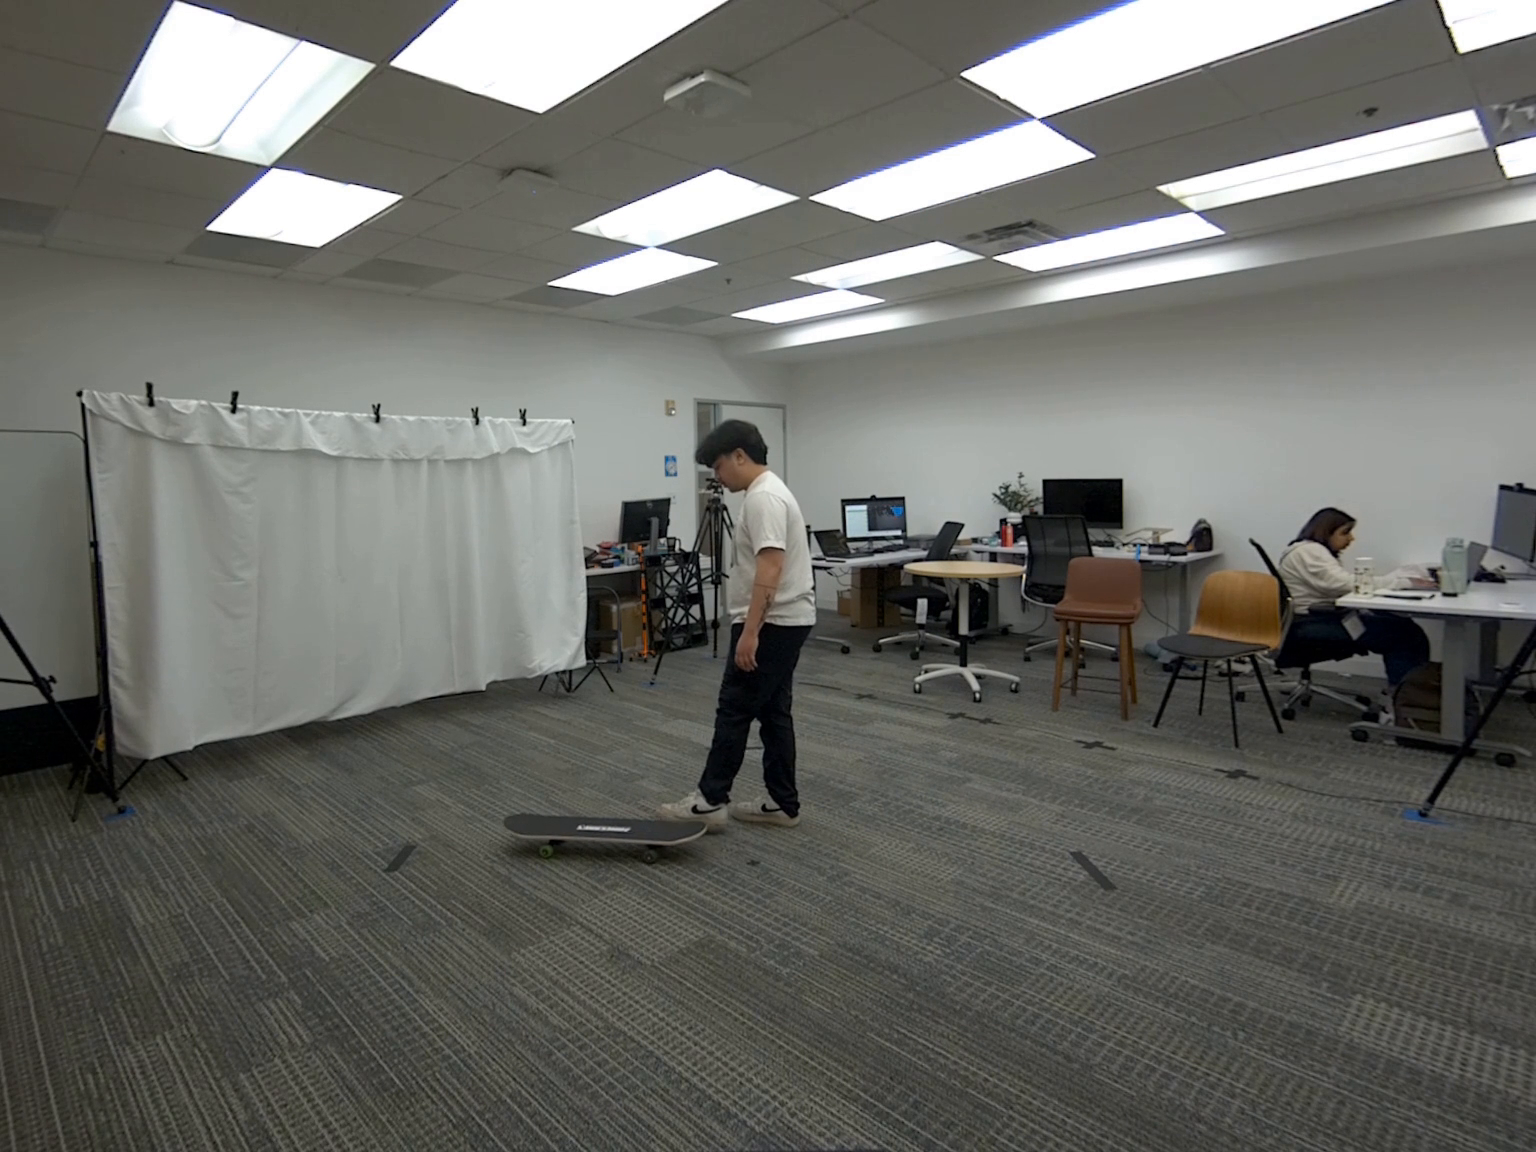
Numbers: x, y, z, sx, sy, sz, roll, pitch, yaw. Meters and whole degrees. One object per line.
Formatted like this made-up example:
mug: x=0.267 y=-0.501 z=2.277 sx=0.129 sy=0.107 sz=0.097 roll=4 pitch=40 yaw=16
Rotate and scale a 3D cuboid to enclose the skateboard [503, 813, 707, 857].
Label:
skateboard: x=-0.615 y=0.982 z=3.220 sx=0.793 sy=0.110 sz=0.192 roll=0 pitch=6 yaw=9
